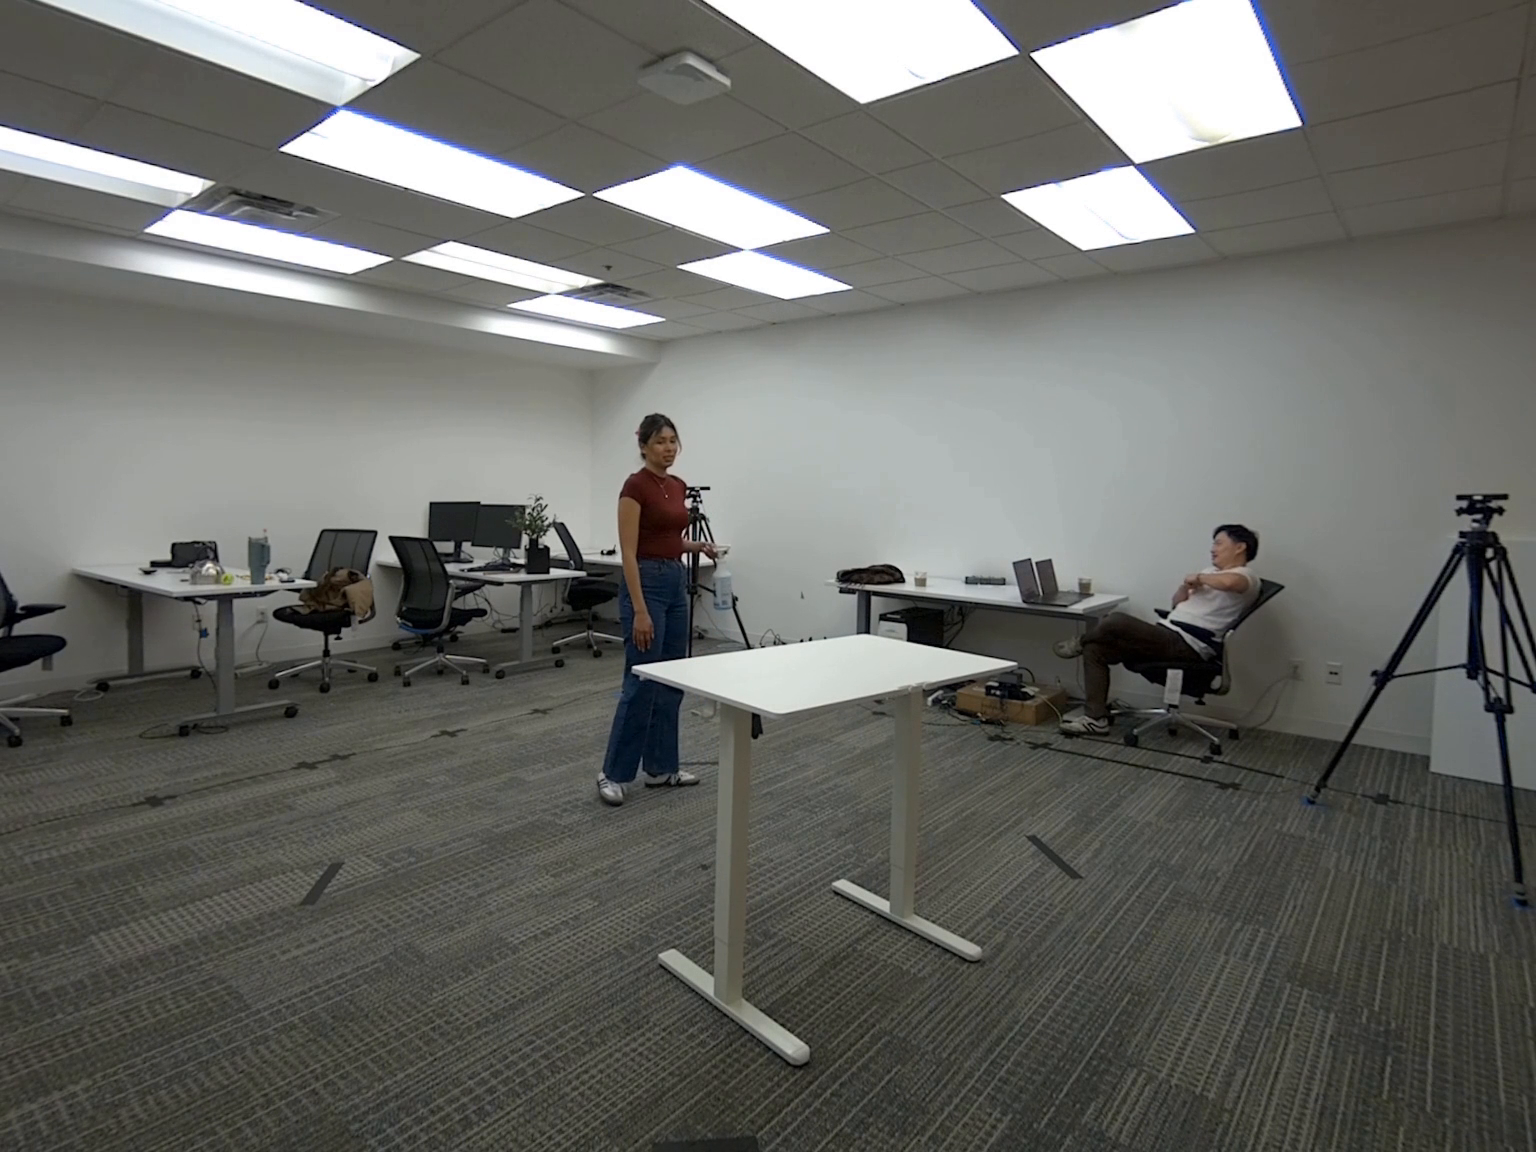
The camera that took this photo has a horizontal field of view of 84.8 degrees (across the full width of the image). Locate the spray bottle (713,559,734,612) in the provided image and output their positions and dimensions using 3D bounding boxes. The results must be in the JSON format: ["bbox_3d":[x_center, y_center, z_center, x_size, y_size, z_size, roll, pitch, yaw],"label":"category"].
[{"bbox_3d":[-0.231,0.006,3.884,0.084,0.295,0.093,-5,8,-41],"label":"spray bottle"}]
